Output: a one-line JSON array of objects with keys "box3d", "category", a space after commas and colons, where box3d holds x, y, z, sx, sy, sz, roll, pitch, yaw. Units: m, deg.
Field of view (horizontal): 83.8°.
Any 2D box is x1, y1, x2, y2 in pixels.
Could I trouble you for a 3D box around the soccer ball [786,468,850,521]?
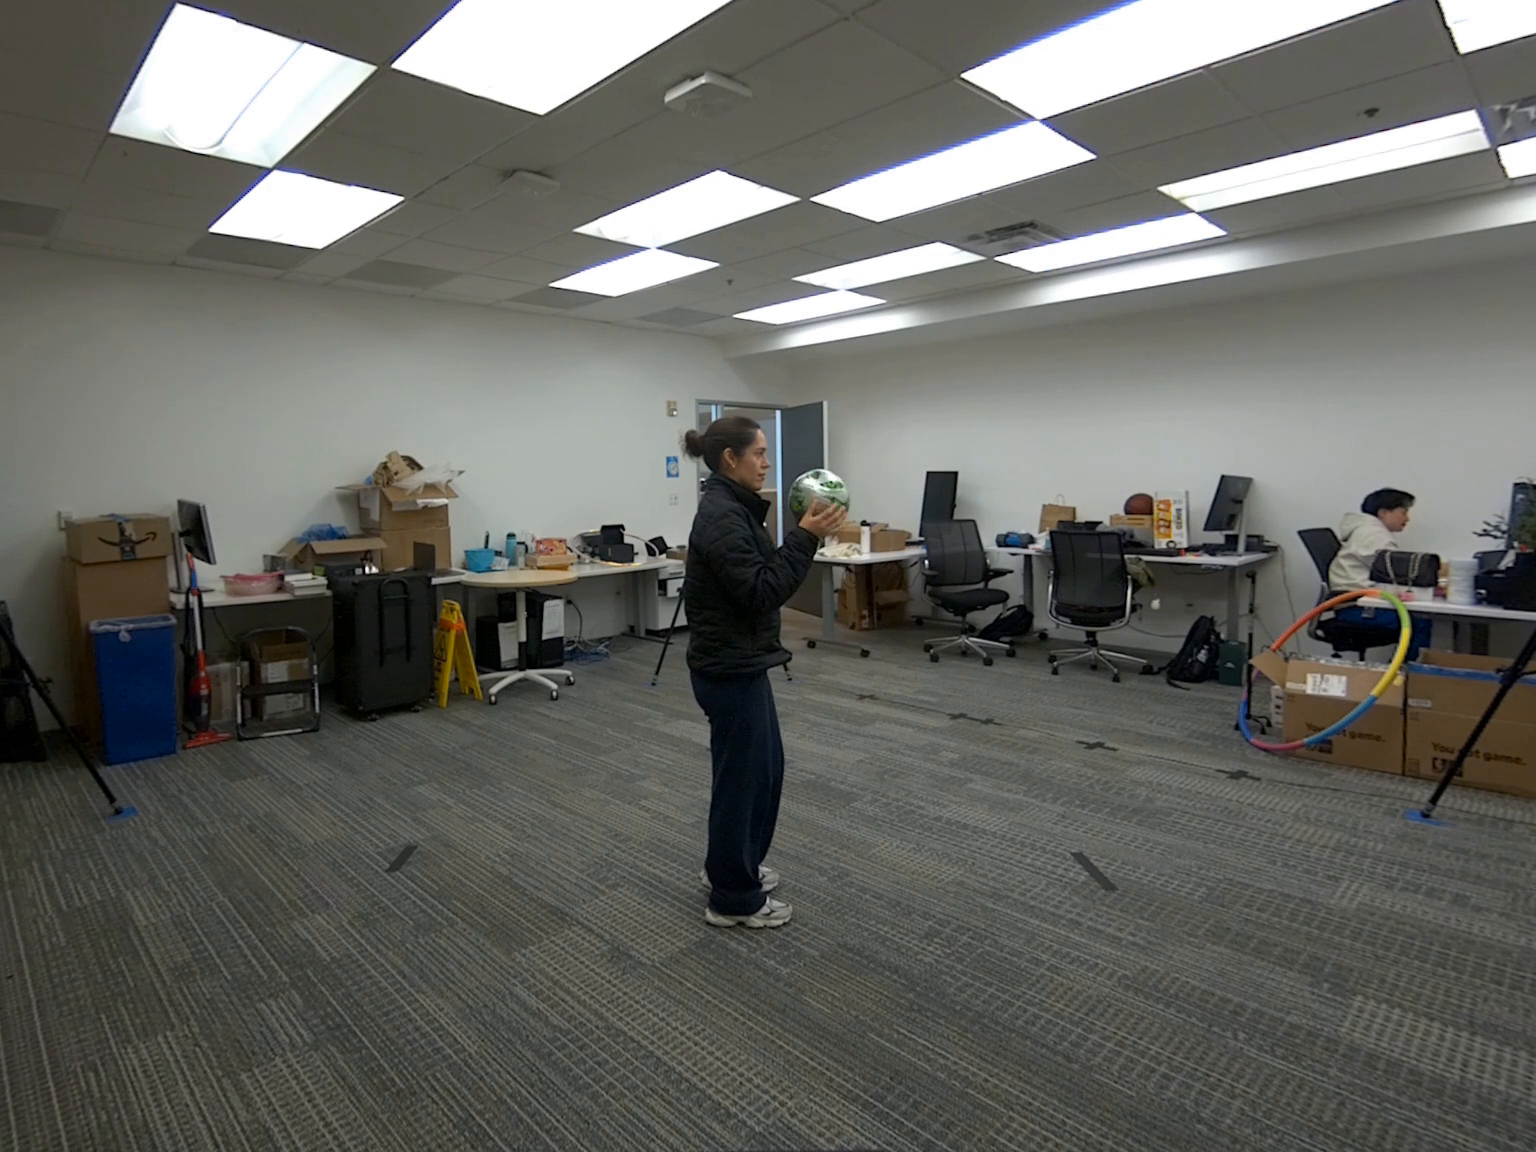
[{"box3d": [0.155, -0.225, 2.603, 0.187, 0.187, 0.188, -1, 5, -2], "category": "soccer ball"}]
